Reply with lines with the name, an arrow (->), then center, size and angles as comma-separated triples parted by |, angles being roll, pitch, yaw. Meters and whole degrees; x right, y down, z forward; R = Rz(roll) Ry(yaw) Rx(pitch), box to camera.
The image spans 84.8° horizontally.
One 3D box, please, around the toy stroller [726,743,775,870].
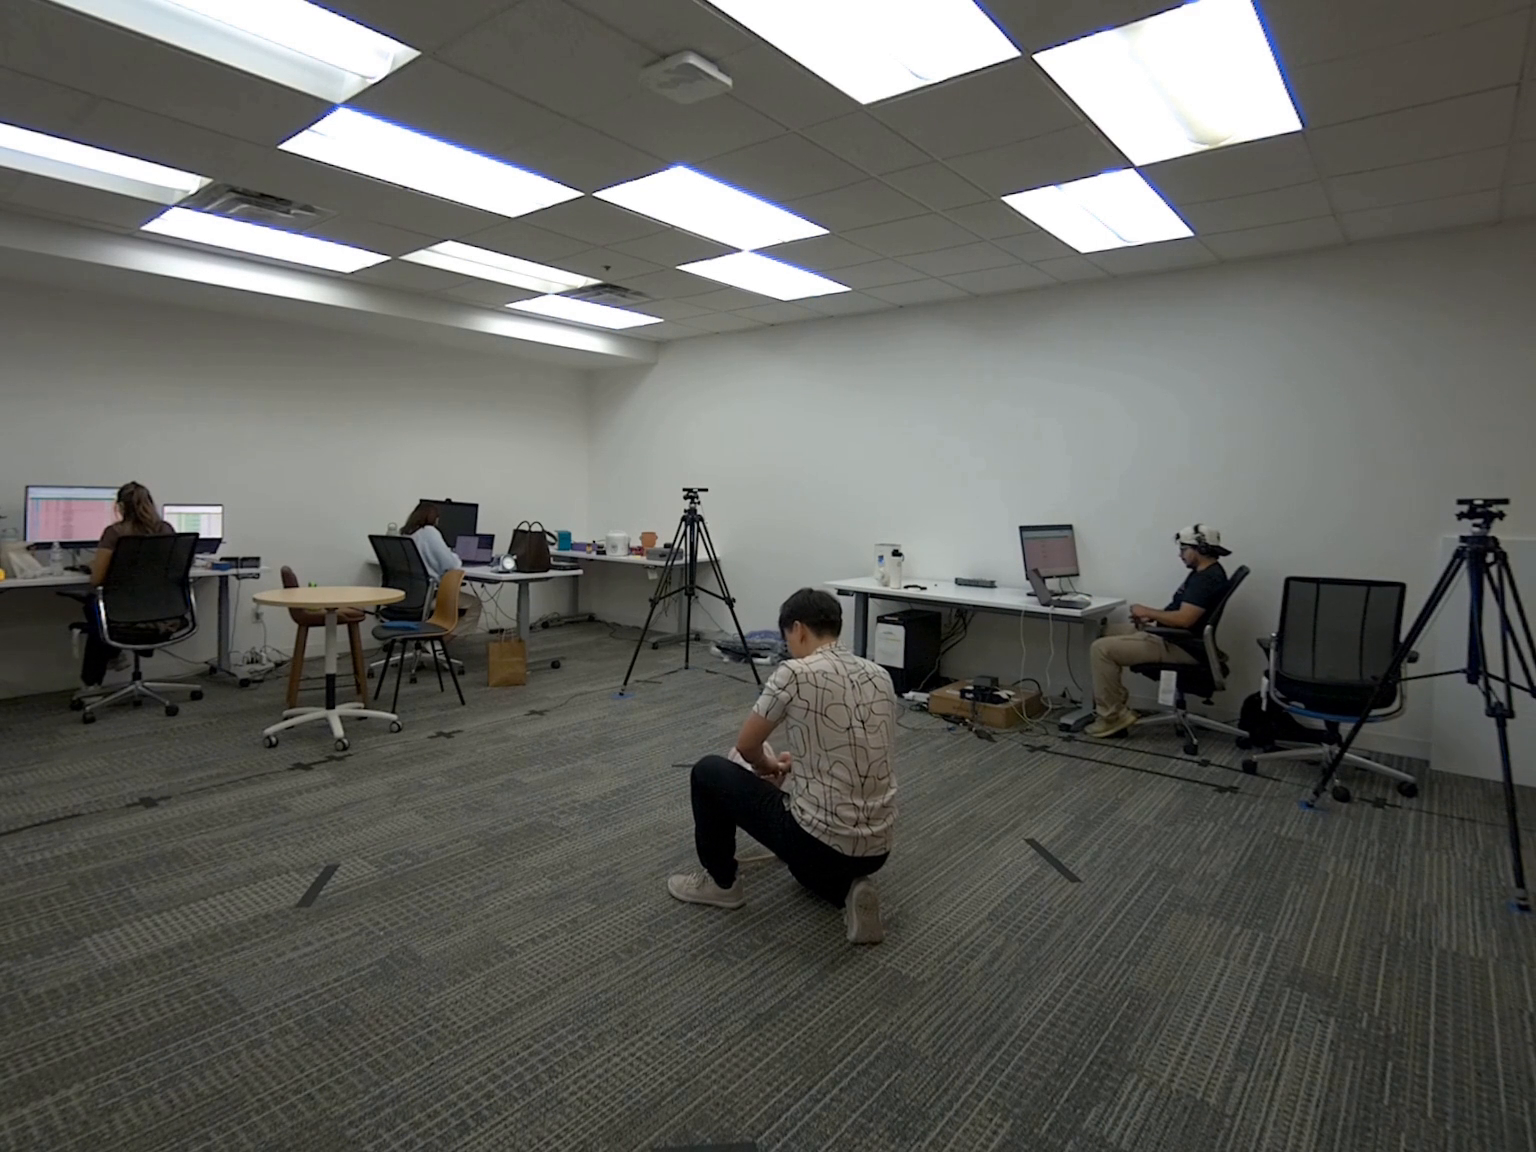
toy stroller -> -0.088, 0.833, 3.205 | 0.275, 0.527, 0.354 | 0, 20, -25
